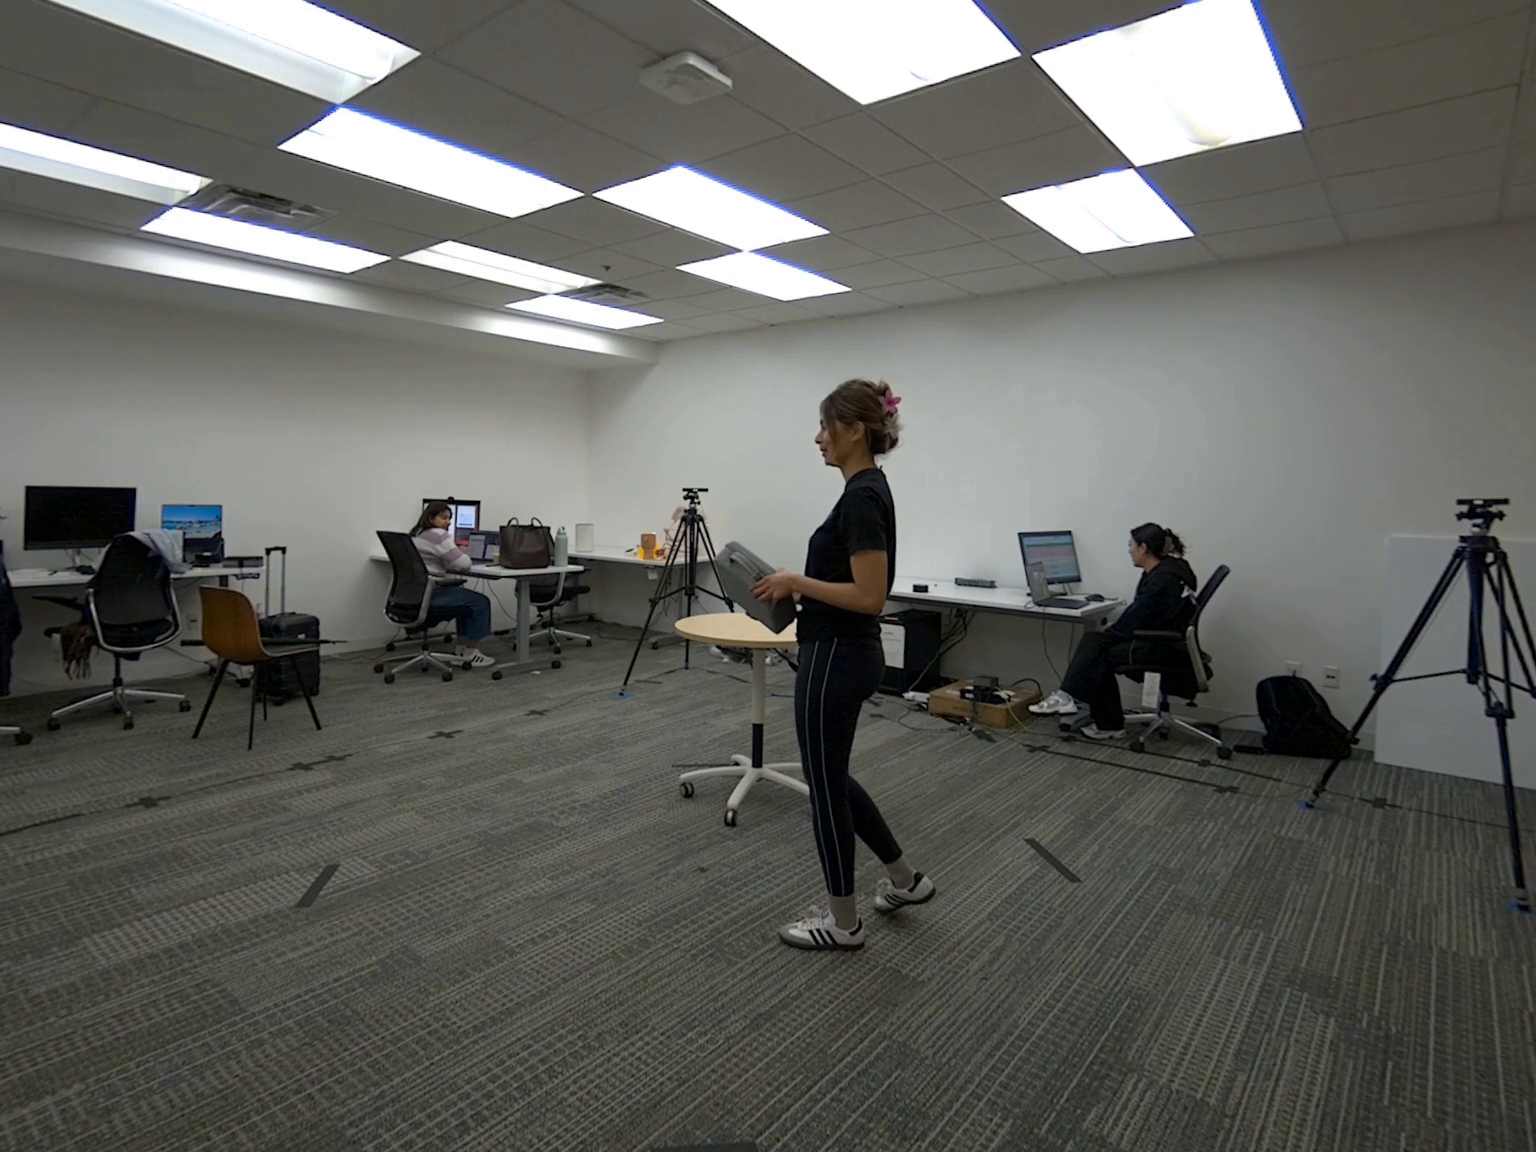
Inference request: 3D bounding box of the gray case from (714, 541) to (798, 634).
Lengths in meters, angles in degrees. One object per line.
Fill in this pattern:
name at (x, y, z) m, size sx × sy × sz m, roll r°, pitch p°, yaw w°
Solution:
gray case at (-0.045, 0.036, 2.661) m, size 0.266 × 0.104 × 0.252 m, roll 39°, pitch -17°, yaw 29°
